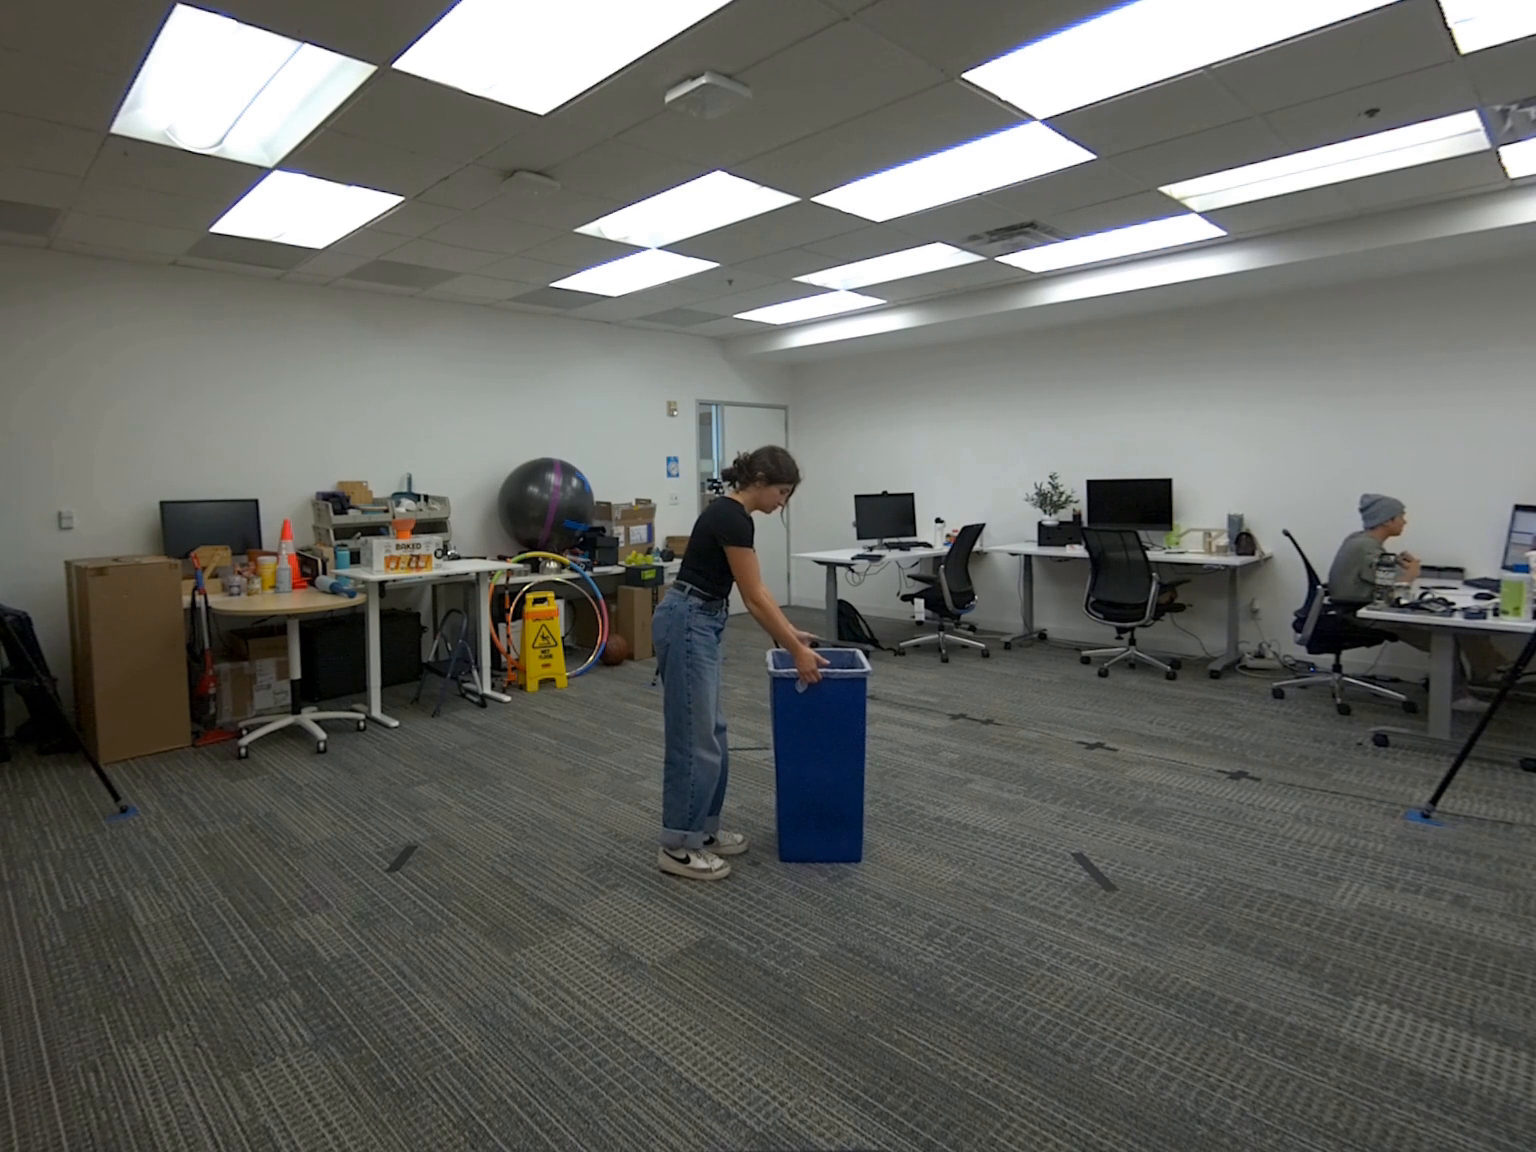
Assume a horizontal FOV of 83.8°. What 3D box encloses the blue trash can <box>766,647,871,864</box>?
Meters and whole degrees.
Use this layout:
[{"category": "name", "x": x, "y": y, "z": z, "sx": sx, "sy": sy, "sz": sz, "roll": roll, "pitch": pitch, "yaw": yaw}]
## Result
[{"category": "blue trash can", "x": 0.182, "y": 0.660, "z": 3.224, "sx": 0.379, "sy": 0.710, "sz": 0.375, "roll": 0, "pitch": 5, "yaw": 1}]
